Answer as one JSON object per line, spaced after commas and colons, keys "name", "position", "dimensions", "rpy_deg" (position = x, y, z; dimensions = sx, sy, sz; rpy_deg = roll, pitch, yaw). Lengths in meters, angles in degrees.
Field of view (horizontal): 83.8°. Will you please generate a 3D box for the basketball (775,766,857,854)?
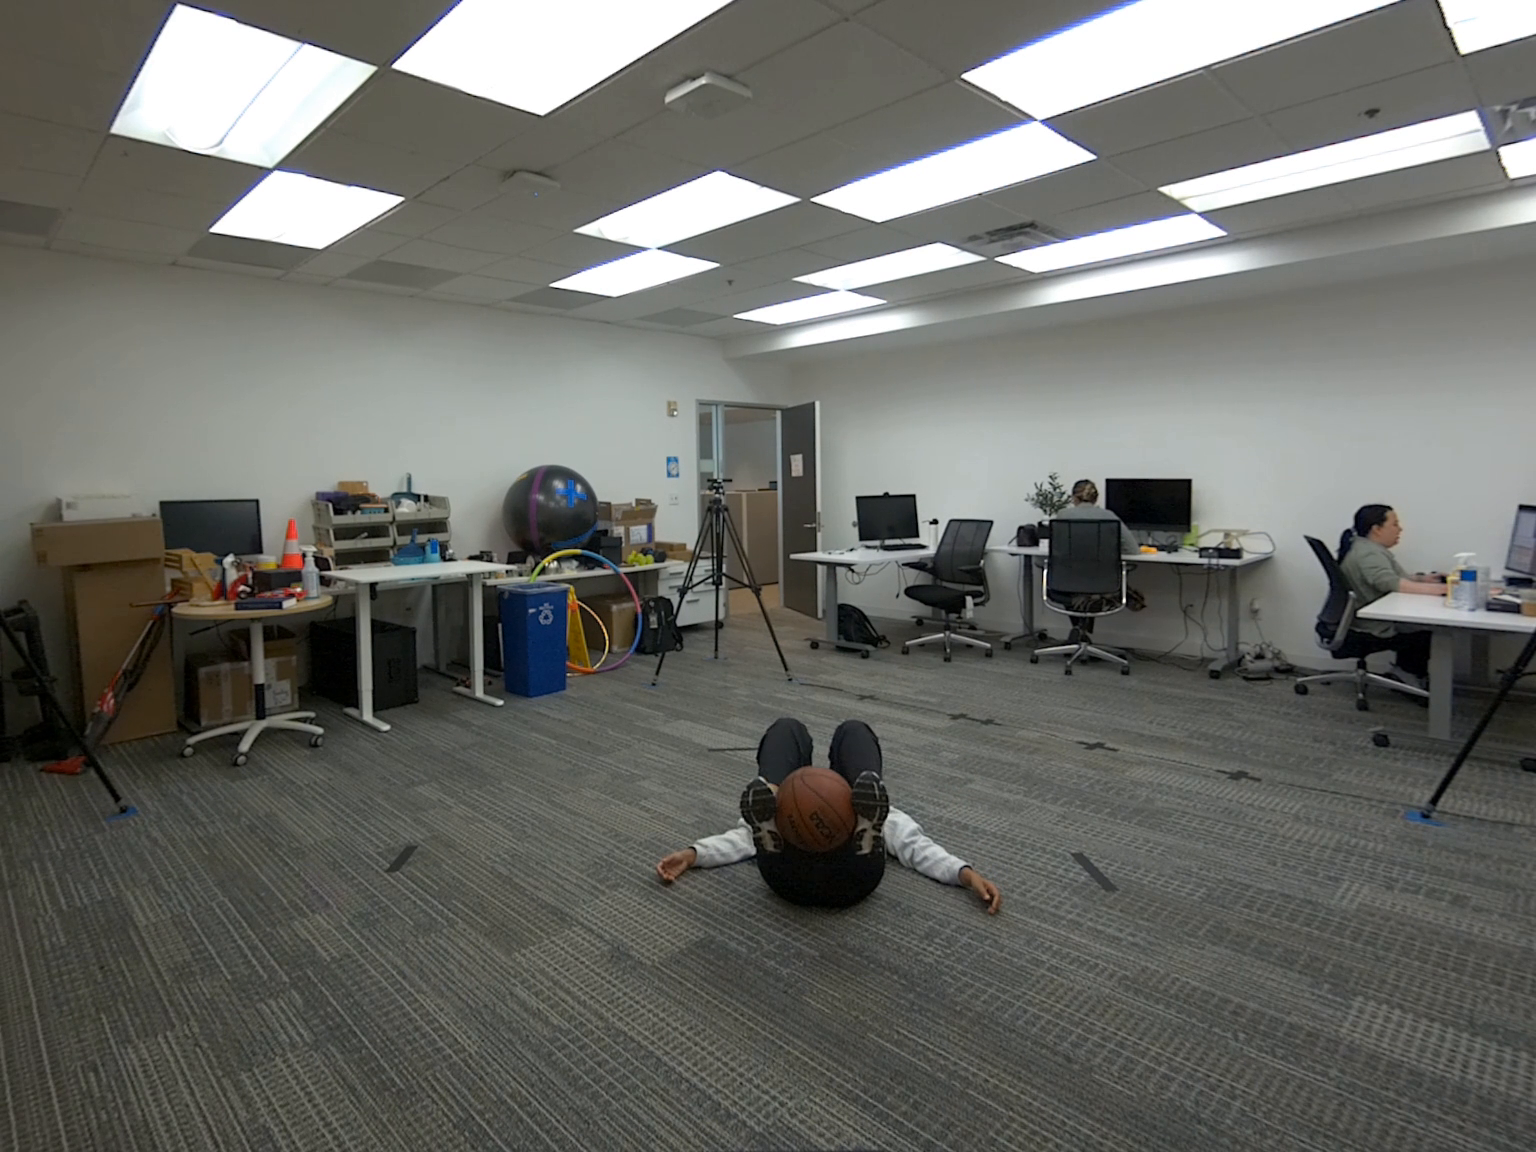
{"name": "basketball", "position": [0.140, 0.668, 2.487], "dimensions": [0.236, 0.235, 0.236], "rpy_deg": [-4, 2, -2]}
